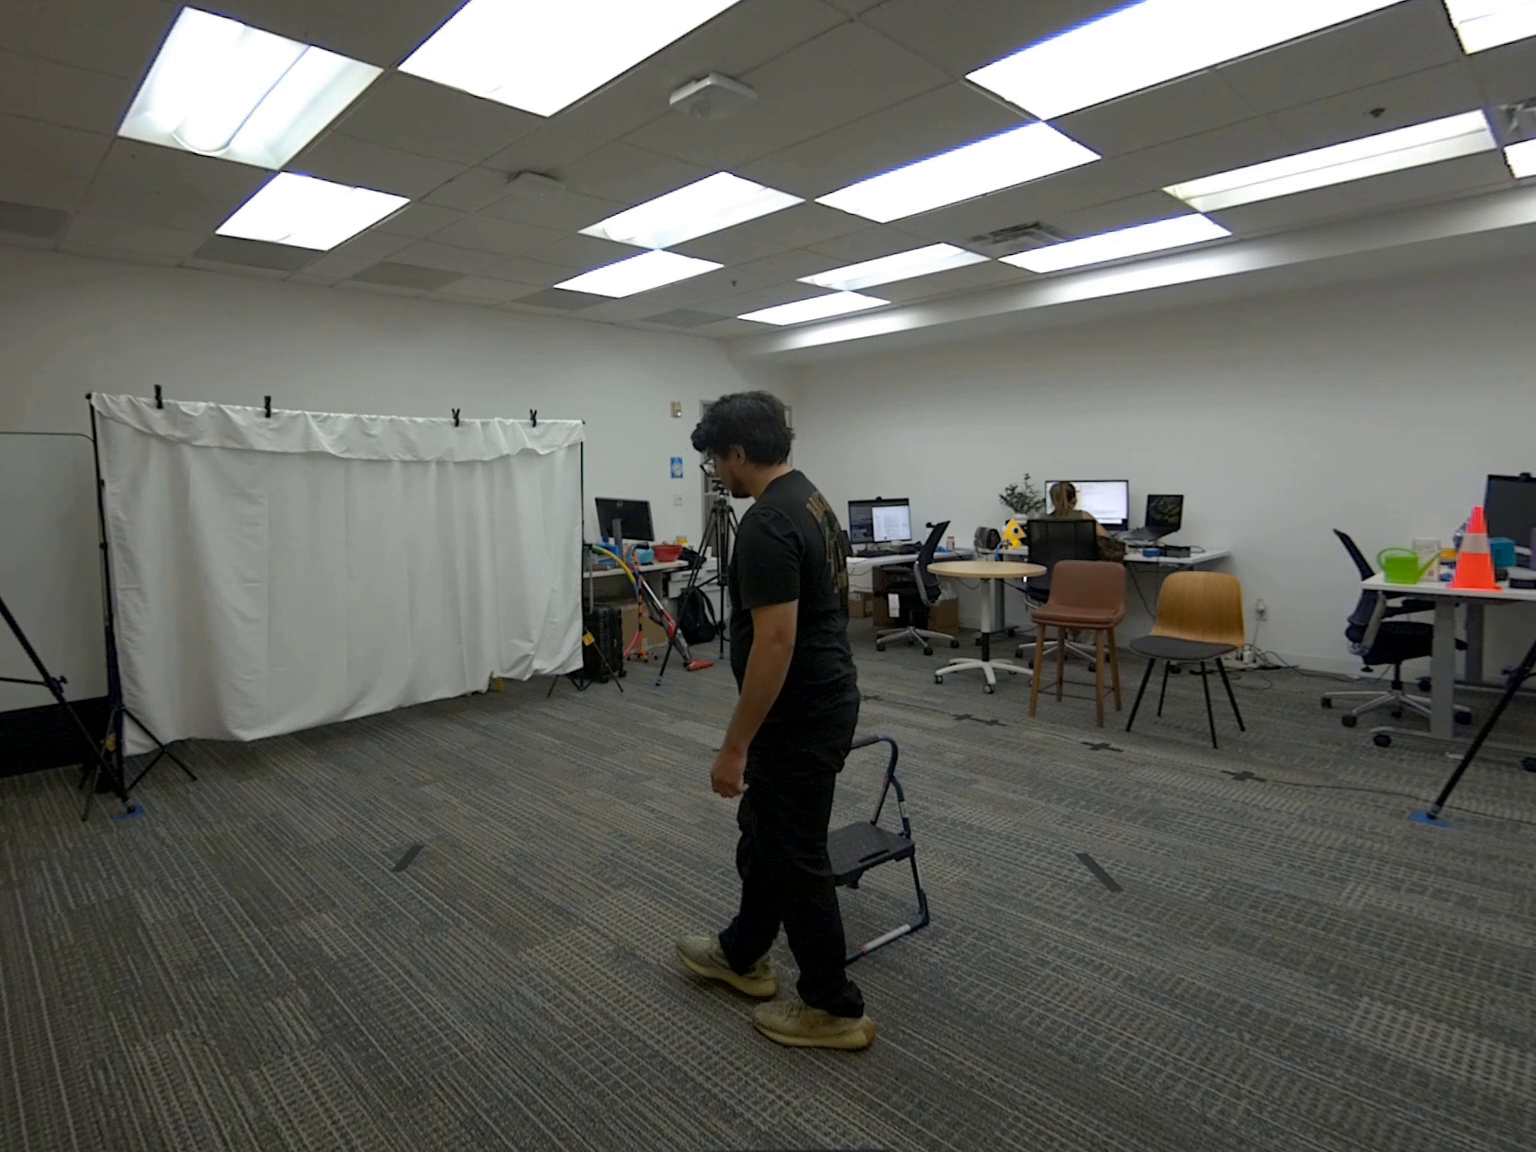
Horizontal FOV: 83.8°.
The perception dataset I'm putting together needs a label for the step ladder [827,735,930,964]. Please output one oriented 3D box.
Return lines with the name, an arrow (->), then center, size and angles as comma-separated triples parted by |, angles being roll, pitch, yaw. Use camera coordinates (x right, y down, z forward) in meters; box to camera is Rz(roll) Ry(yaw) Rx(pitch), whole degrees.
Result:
step ladder -> 0.237, 0.792, 2.662 | 0.419, 0.604, 0.360 | -5, 5, -39
